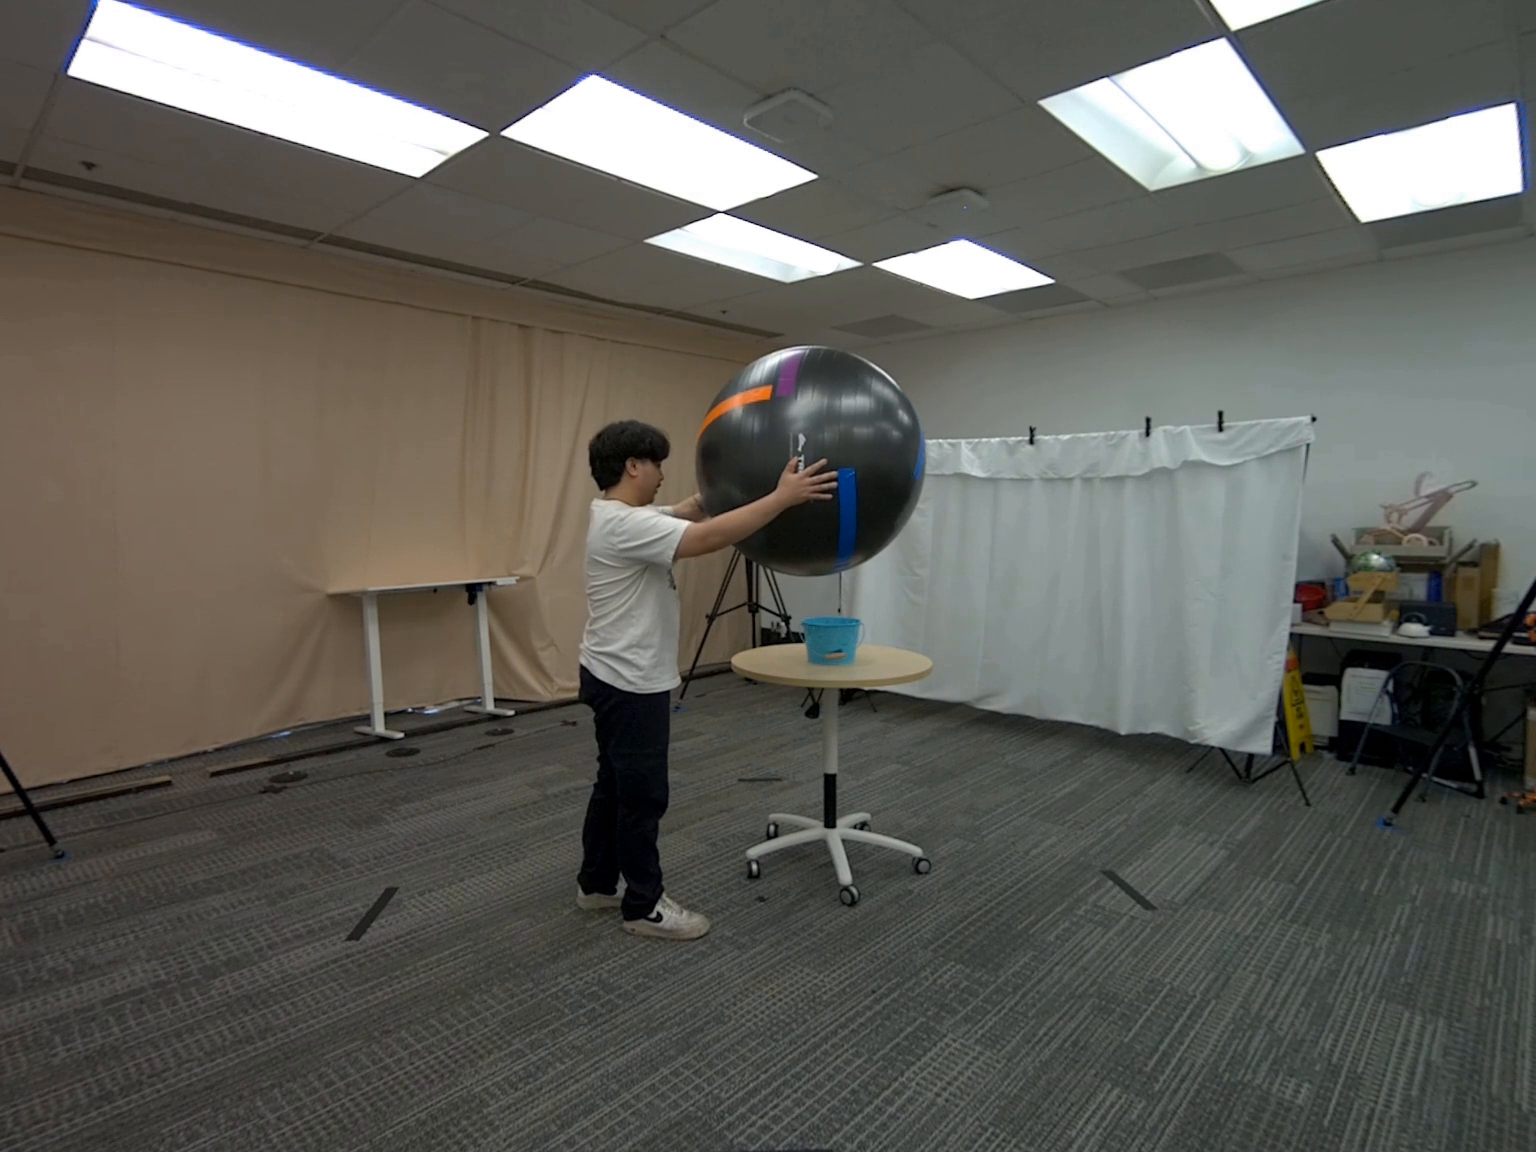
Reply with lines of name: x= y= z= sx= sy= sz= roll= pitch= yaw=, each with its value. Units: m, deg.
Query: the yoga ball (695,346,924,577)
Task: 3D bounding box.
yoga ball: x=0.145 y=-0.373 z=2.810 sx=0.757 sy=0.756 sz=0.761 roll=0 pitch=4 yaw=-2
